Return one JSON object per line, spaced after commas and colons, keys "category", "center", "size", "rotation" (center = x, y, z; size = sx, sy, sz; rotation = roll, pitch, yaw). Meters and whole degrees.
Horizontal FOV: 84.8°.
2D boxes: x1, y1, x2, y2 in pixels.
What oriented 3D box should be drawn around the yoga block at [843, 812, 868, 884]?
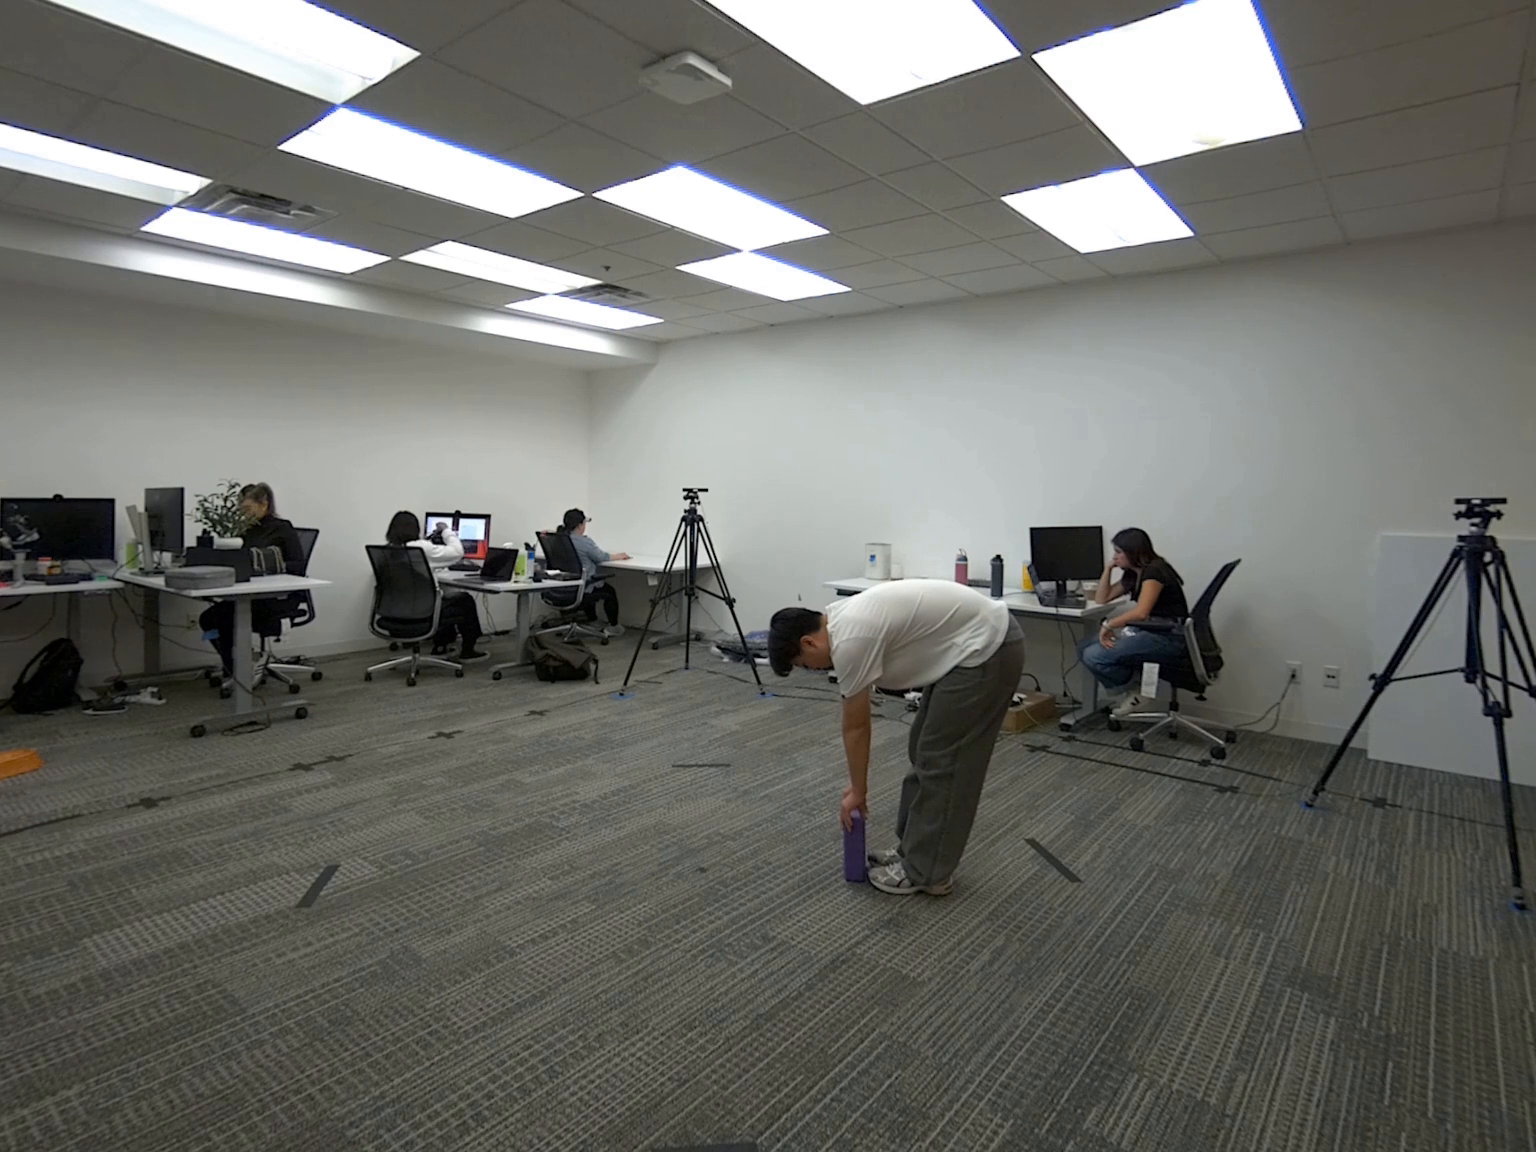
{"category": "yoga block", "center": [0.319, 0.967, 3.110], "size": [0.077, 0.229, 0.148], "rotation": [0, 3, 4]}
